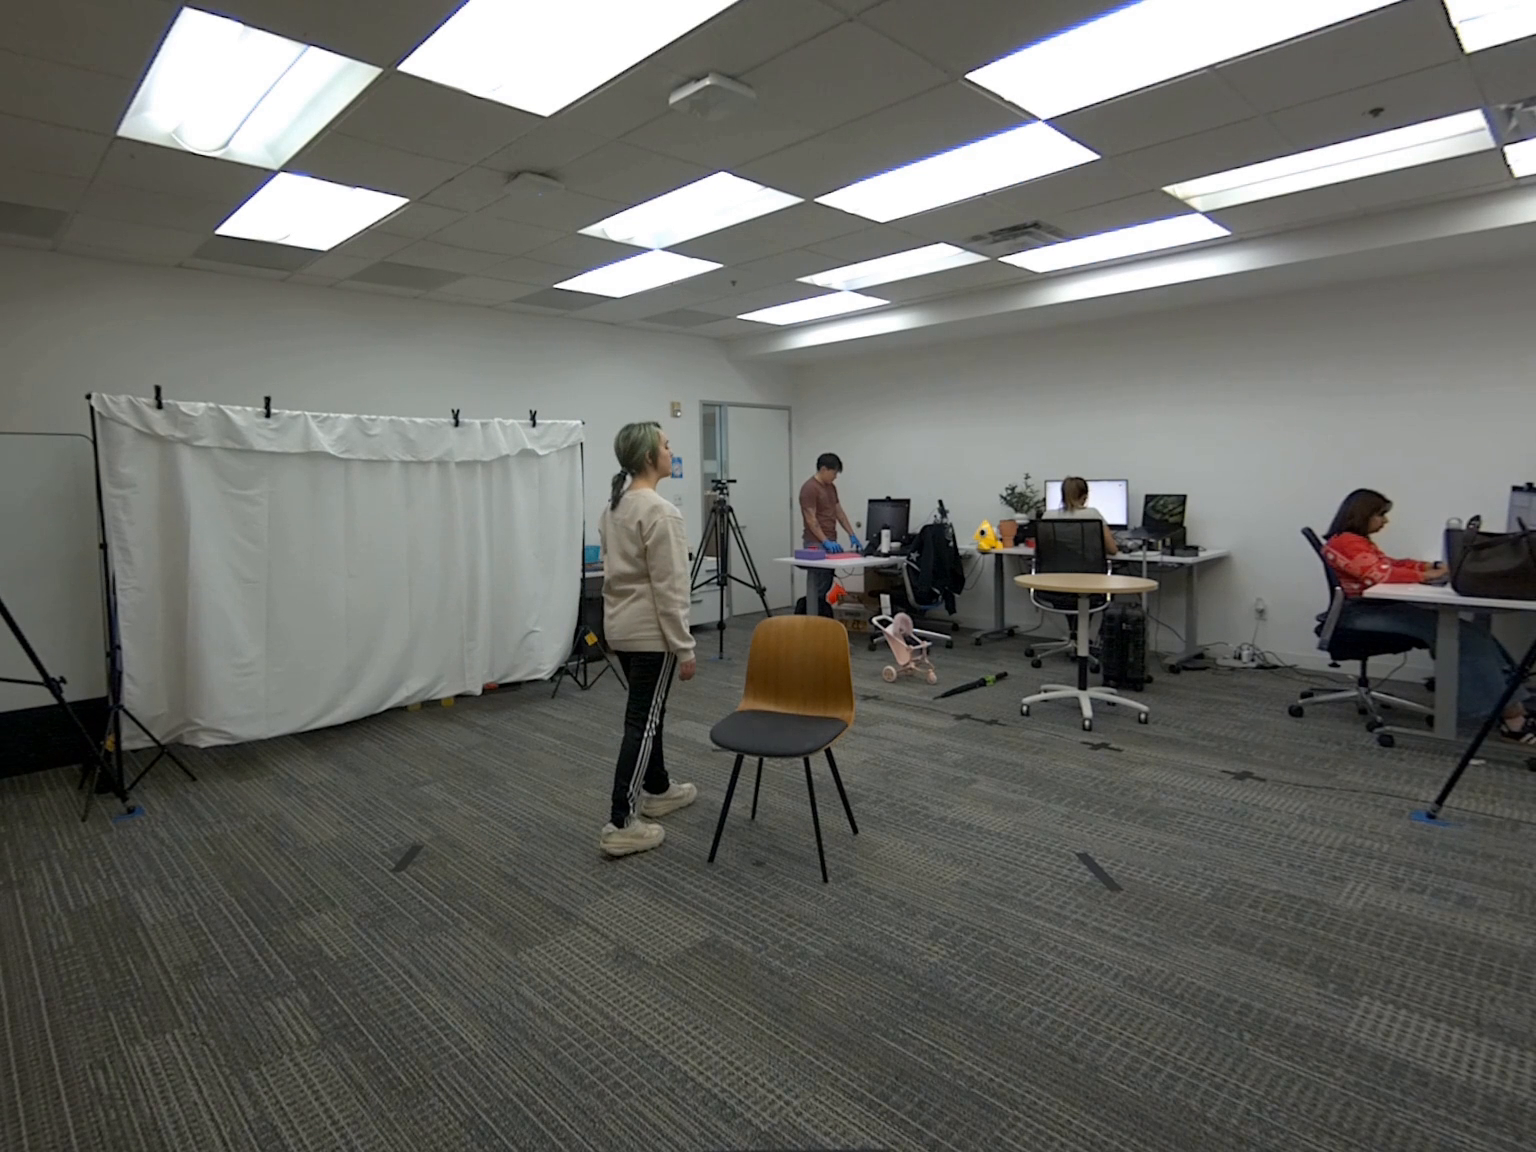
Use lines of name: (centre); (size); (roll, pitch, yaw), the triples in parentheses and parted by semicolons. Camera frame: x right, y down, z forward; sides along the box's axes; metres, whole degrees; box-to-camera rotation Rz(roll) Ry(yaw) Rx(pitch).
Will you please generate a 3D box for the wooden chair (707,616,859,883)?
wooden chair: (0.063, 0.606, 3.195); (0.488, 0.877, 0.512); (1, 0, 22)
